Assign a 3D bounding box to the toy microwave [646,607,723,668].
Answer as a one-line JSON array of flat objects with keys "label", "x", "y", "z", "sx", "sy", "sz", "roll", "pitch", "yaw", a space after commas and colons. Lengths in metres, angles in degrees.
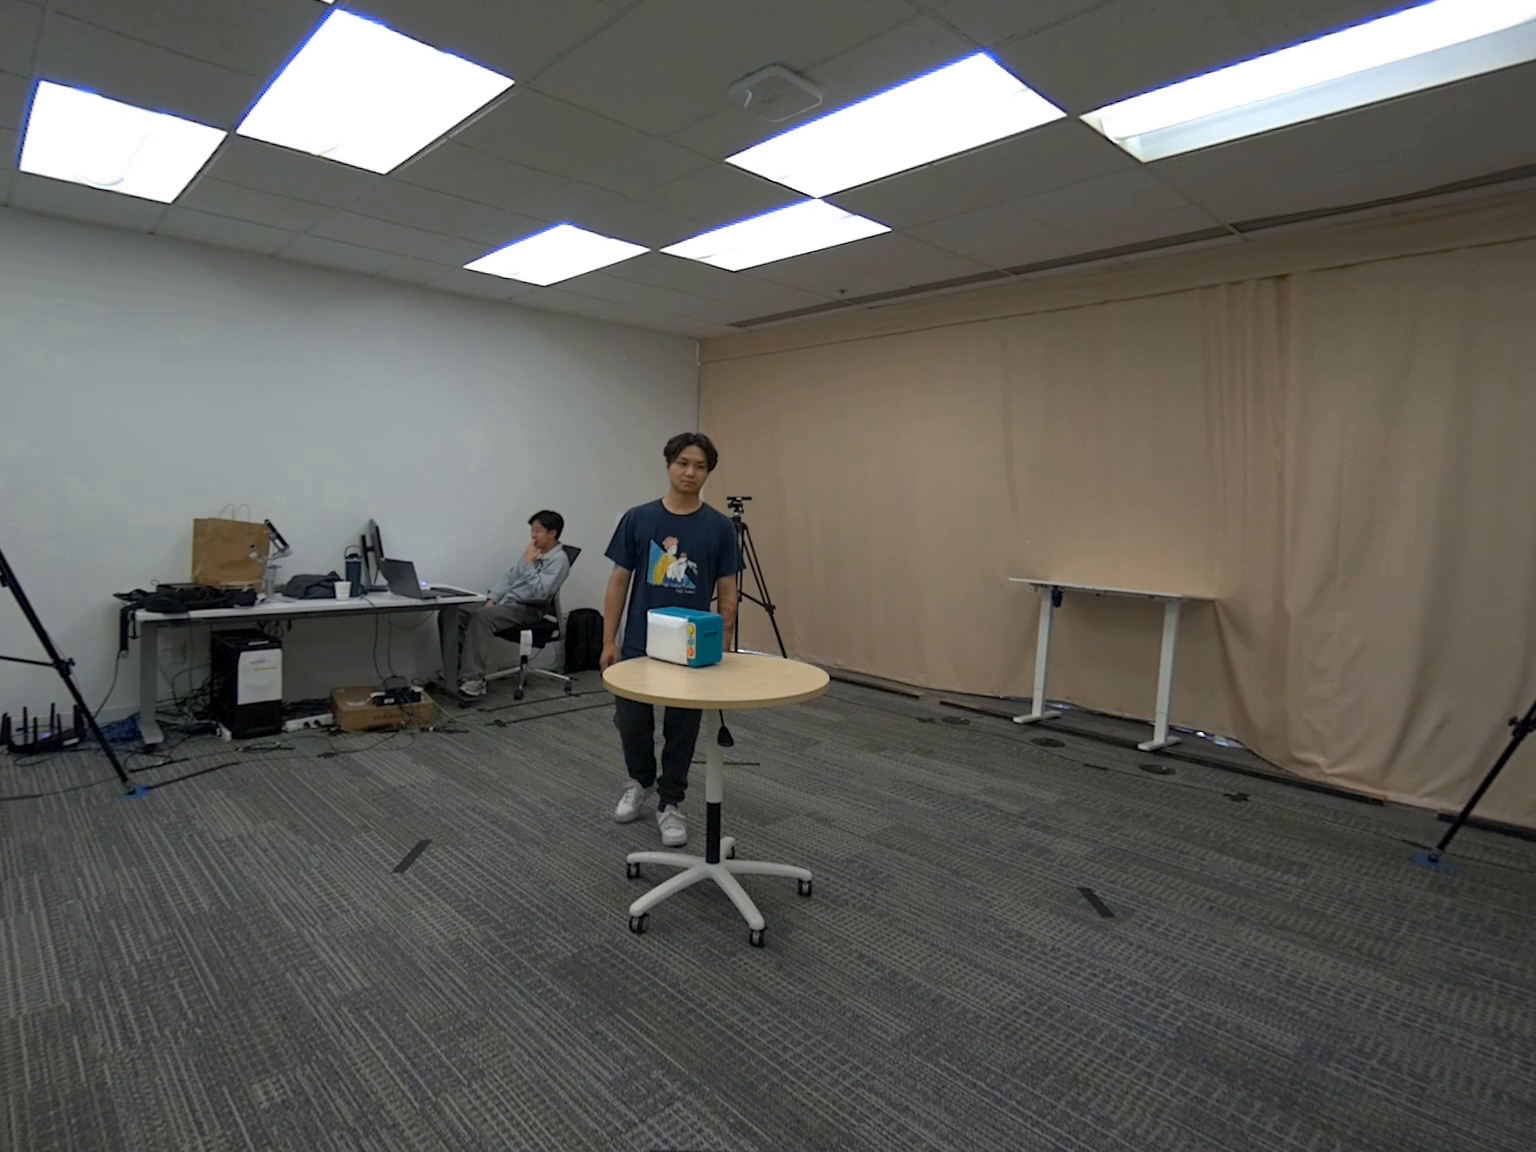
[{"label": "toy microwave", "x": -0.323, "y": 0.221, "z": 3.046, "sx": 0.293, "sy": 0.183, "sz": 0.149, "roll": 6, "pitch": 6, "yaw": 43}]
